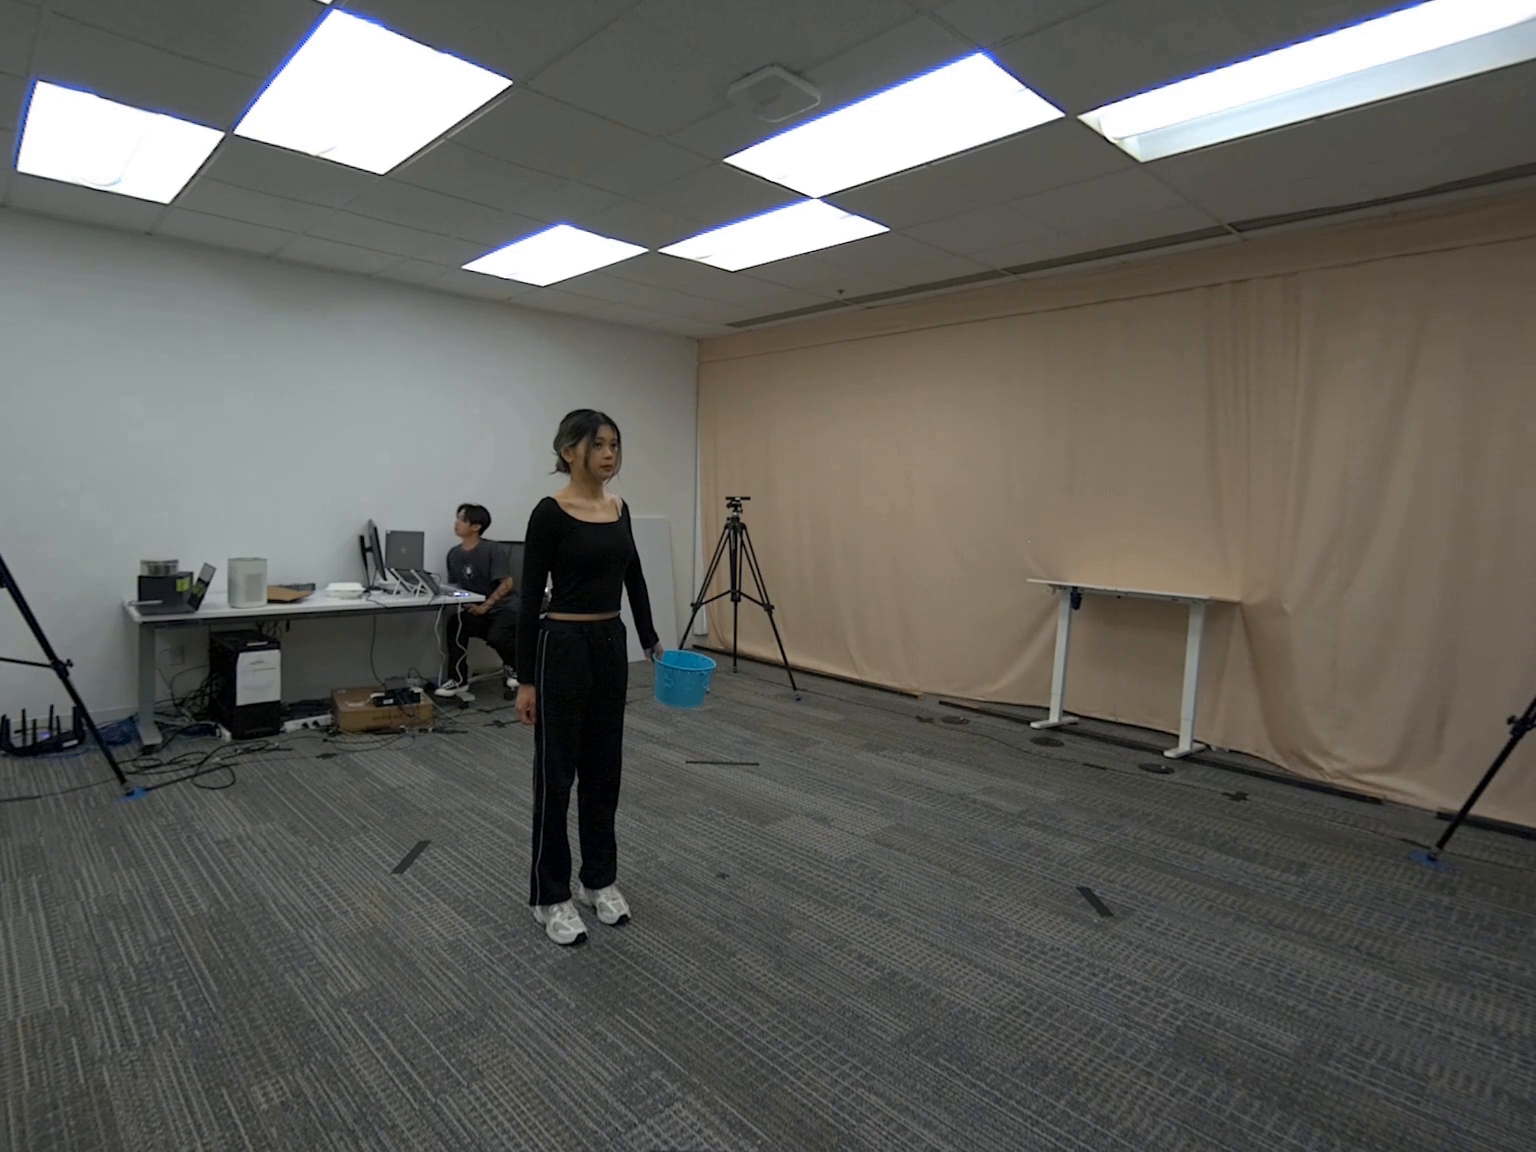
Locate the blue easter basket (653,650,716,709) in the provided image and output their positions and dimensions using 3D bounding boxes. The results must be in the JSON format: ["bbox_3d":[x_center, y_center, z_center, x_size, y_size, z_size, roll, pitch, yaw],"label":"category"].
[{"bbox_3d":[-0.314,0.384,3.077,0.243,0.155,0.245,9,9,-3],"label":"blue easter basket"}]
